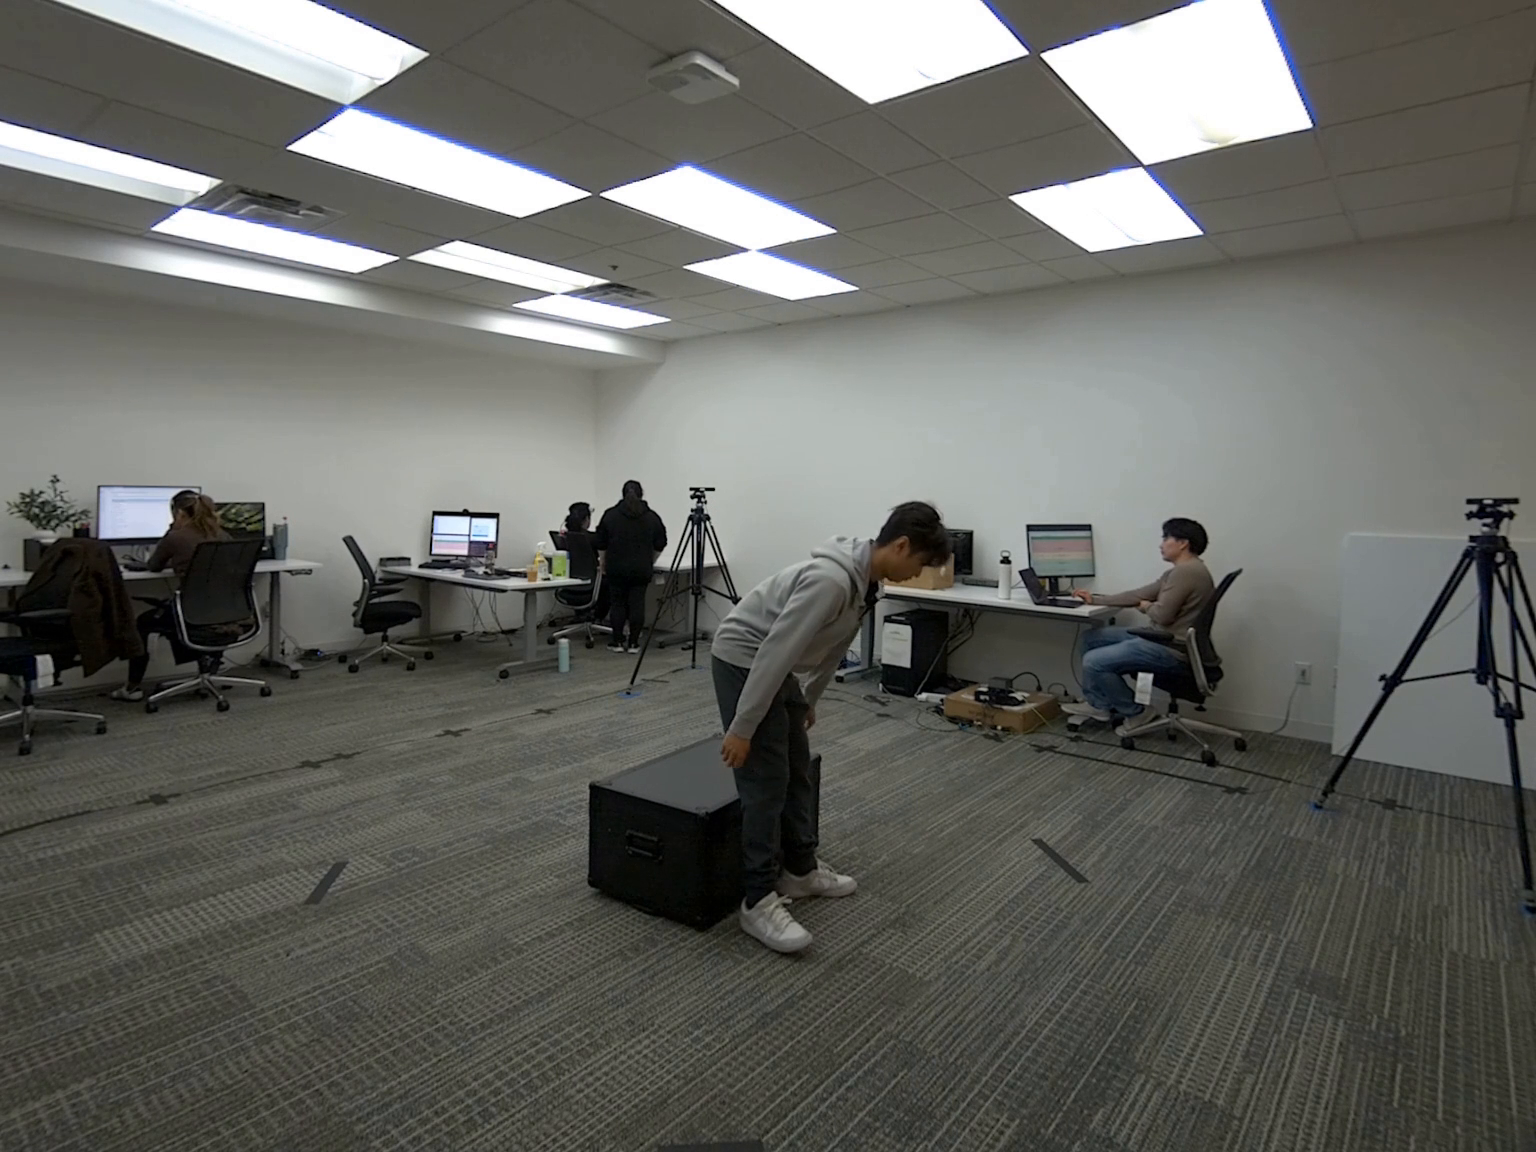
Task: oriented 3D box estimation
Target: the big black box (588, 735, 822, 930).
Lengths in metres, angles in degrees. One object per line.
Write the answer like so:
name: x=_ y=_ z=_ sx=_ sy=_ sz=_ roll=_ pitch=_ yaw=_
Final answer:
big black box: x=-0.237 y=0.880 z=3.060 sx=0.537 sy=0.395 sz=0.838 roll=4 pitch=6 yaw=32
